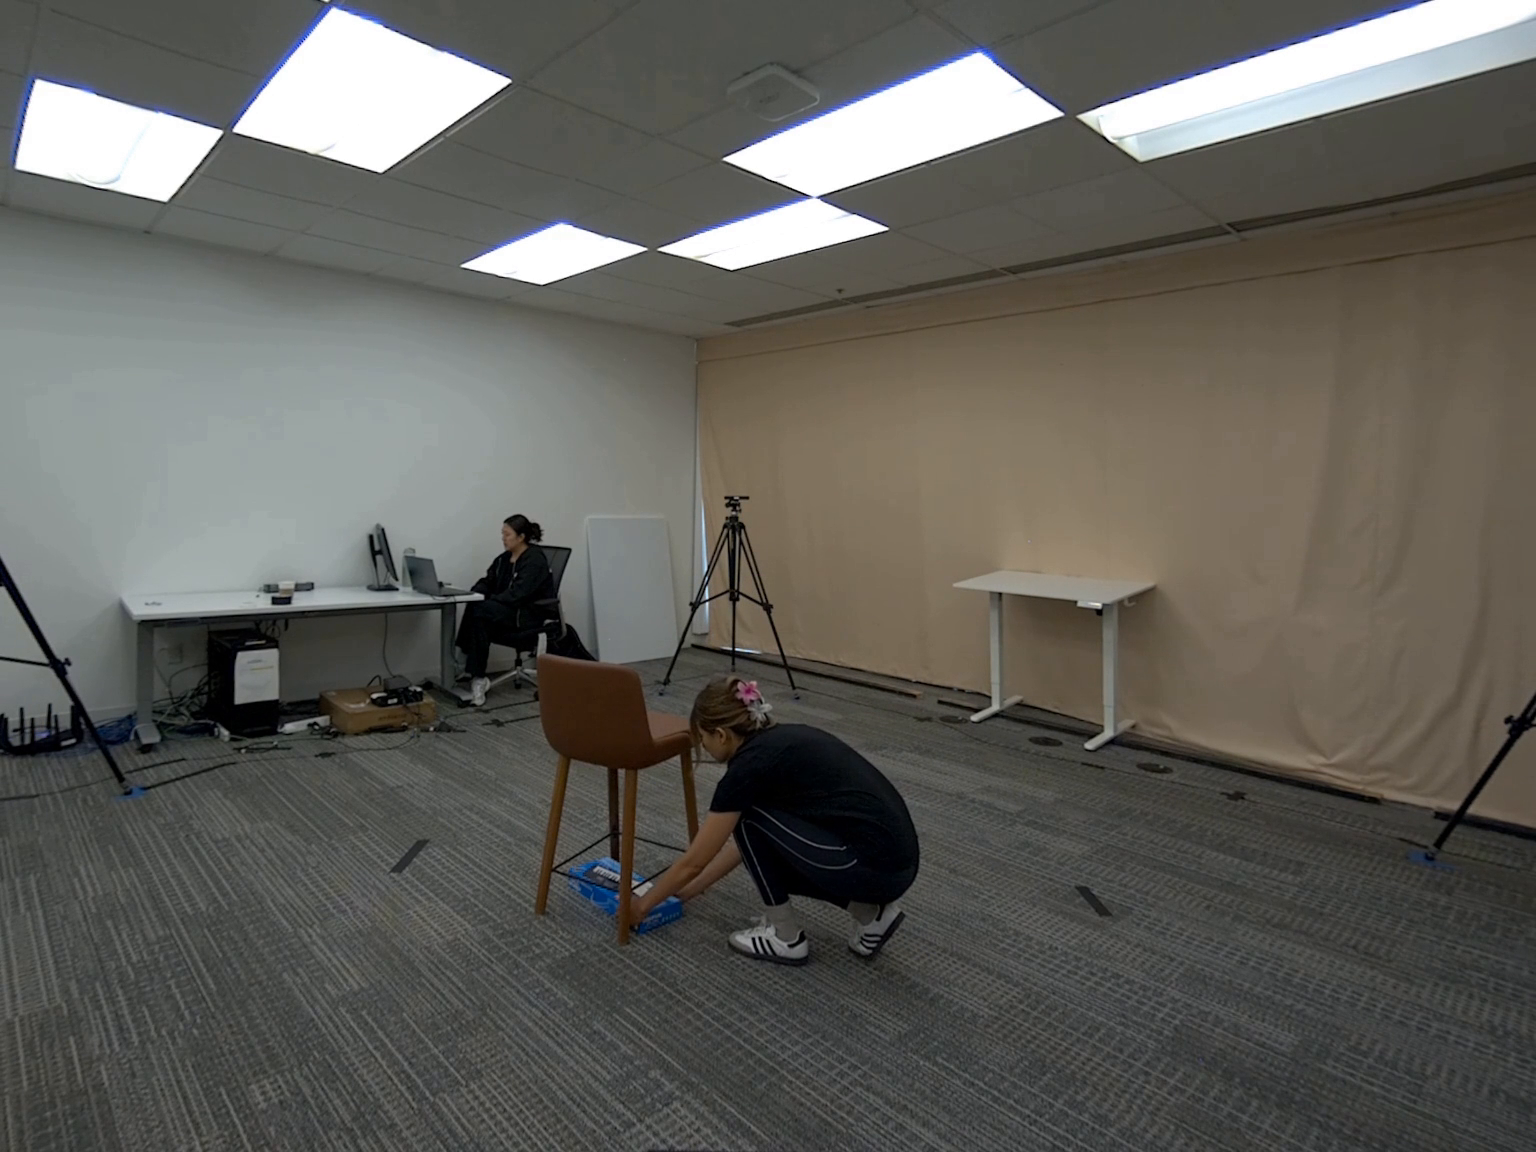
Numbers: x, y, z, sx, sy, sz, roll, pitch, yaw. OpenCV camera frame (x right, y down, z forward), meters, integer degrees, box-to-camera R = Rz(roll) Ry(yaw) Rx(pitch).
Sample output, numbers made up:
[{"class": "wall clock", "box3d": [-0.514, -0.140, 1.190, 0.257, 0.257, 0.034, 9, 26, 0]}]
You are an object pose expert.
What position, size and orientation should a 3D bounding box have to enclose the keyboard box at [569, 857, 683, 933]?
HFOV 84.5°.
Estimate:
[{"class": "keyboard box", "box3d": [-0.502, 1.090, 2.885, 0.172, 0.059, 0.448, -4, 7, -44]}]
